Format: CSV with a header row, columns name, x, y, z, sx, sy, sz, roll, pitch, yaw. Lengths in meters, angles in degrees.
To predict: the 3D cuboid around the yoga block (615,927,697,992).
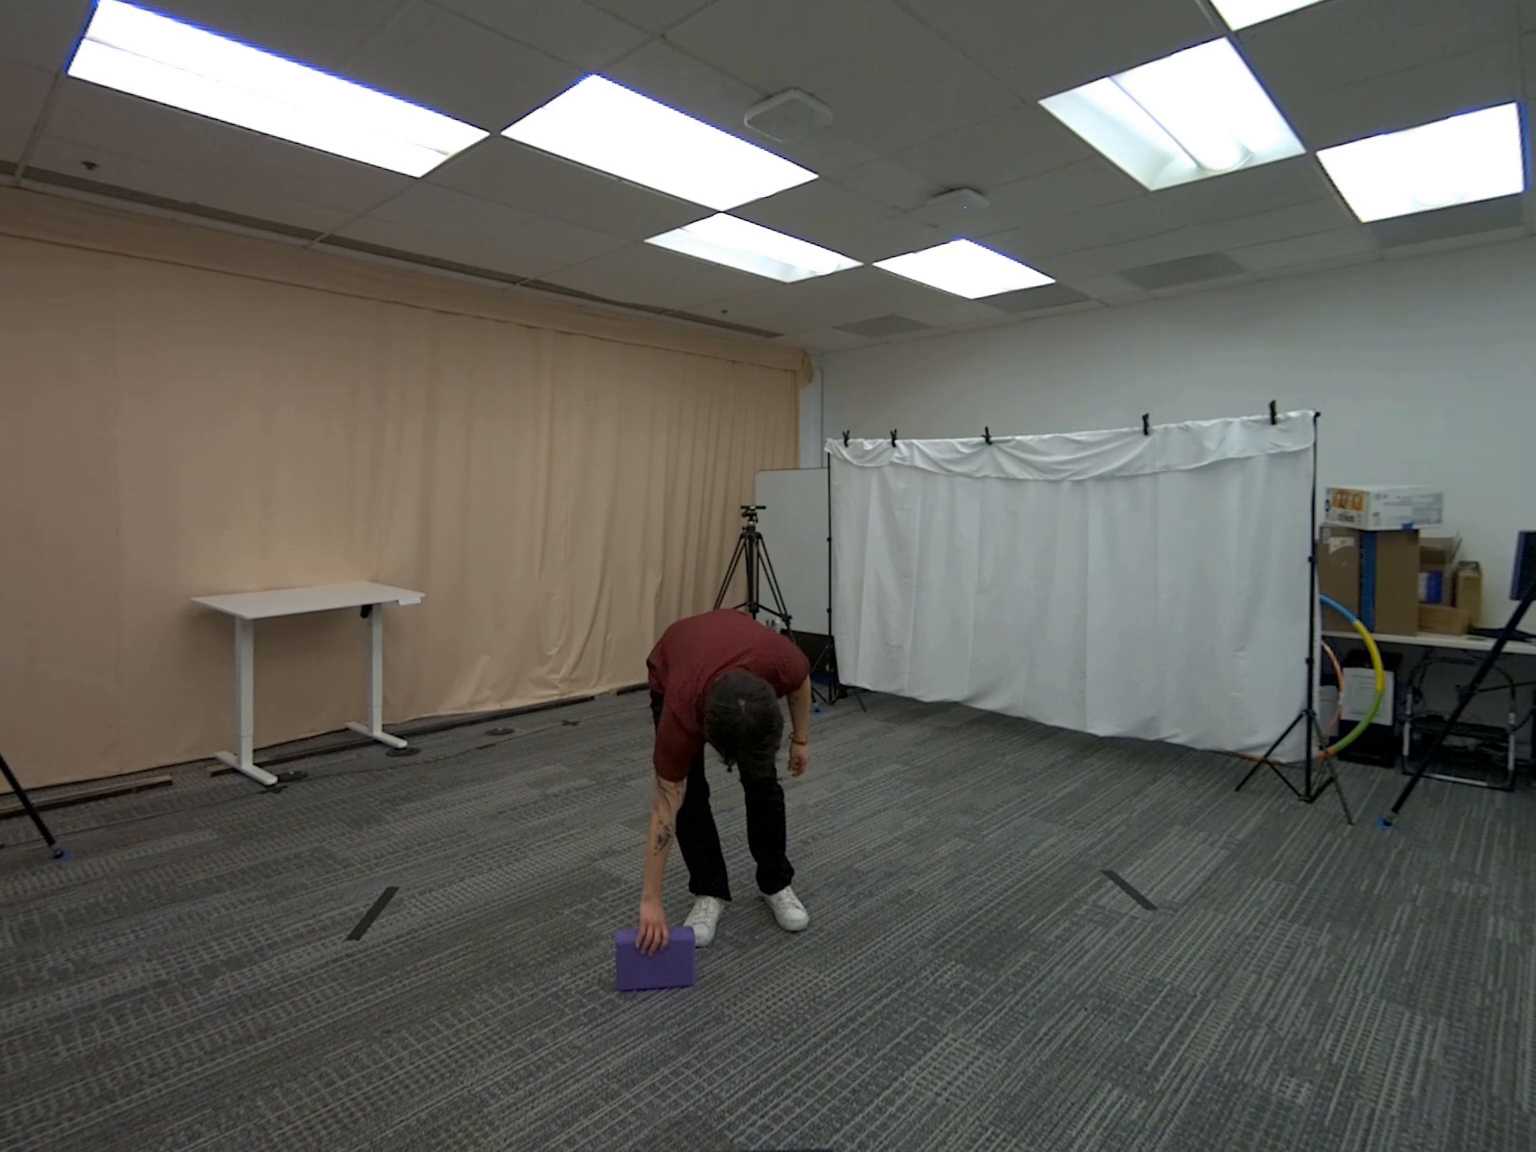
name,x,y,z,sx,sy,sz,roll,pitch,yaw
yoga block,-0.326,1.110,2.455,0.228,0.149,0.077,1,2,-3
